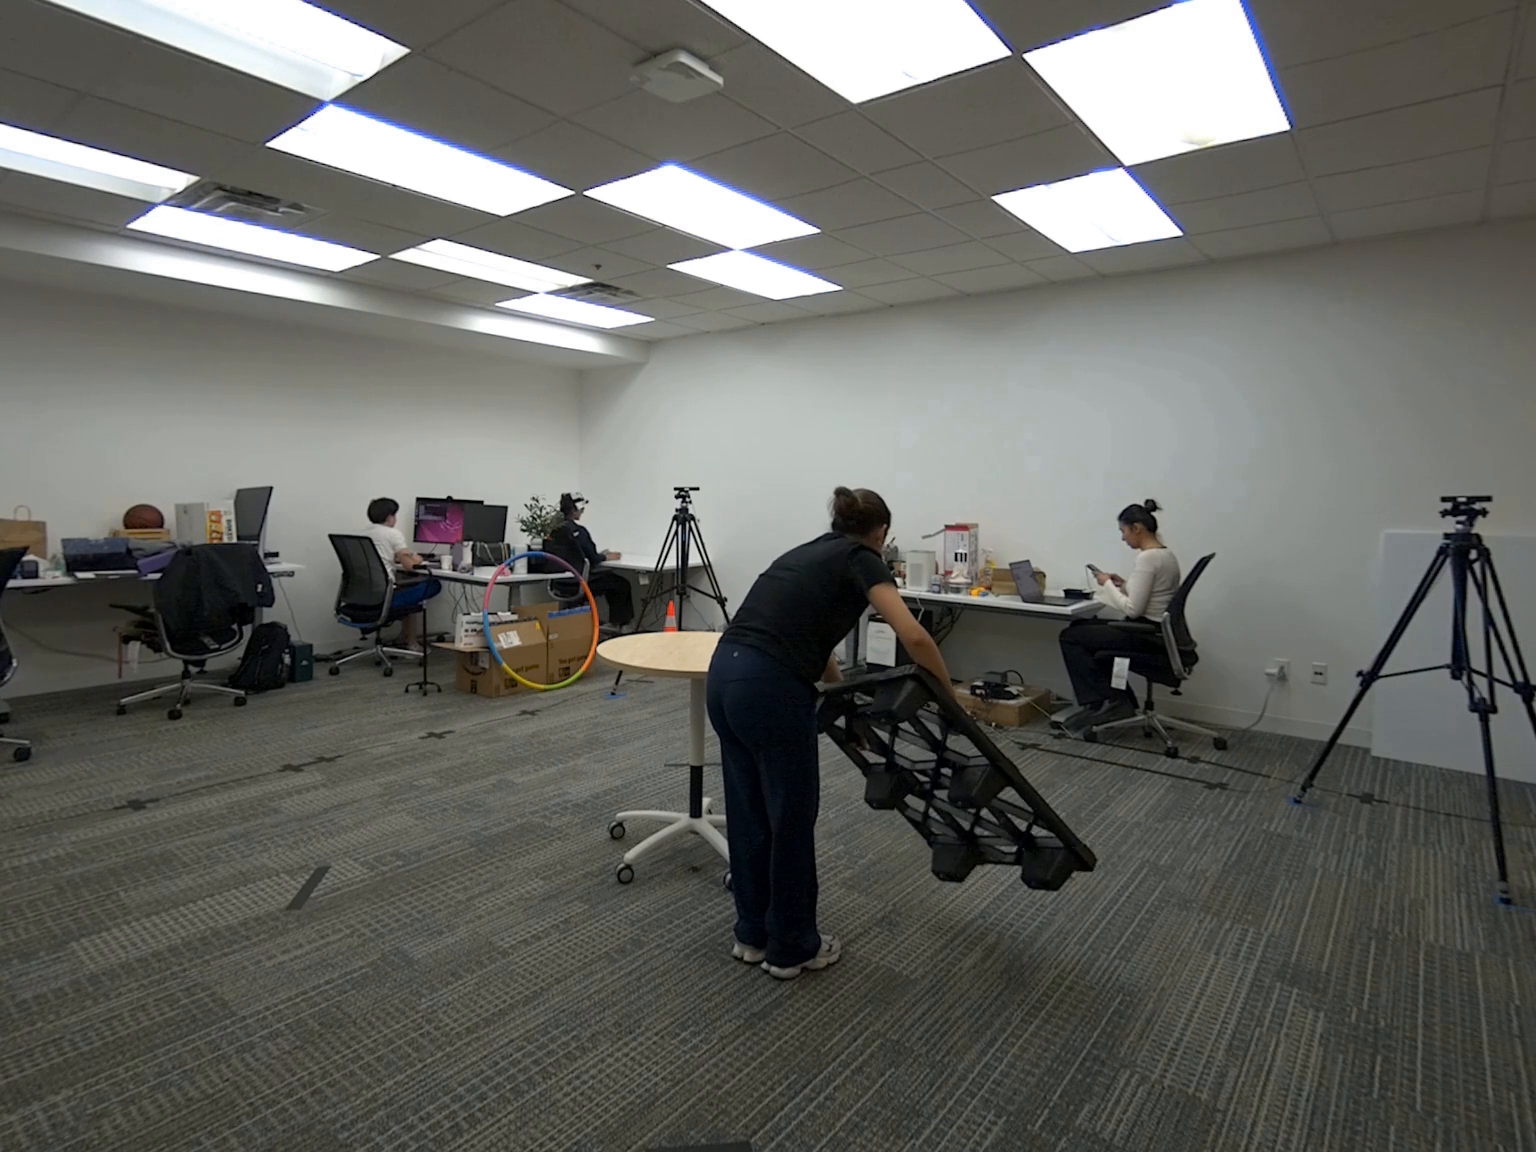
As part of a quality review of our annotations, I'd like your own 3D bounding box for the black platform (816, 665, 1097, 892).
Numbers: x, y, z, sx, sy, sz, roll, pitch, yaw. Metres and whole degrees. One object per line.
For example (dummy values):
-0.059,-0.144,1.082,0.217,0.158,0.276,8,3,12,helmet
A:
0.490,0.622,2.565,0.143,0.796,0.613,-47,11,-33,black platform
